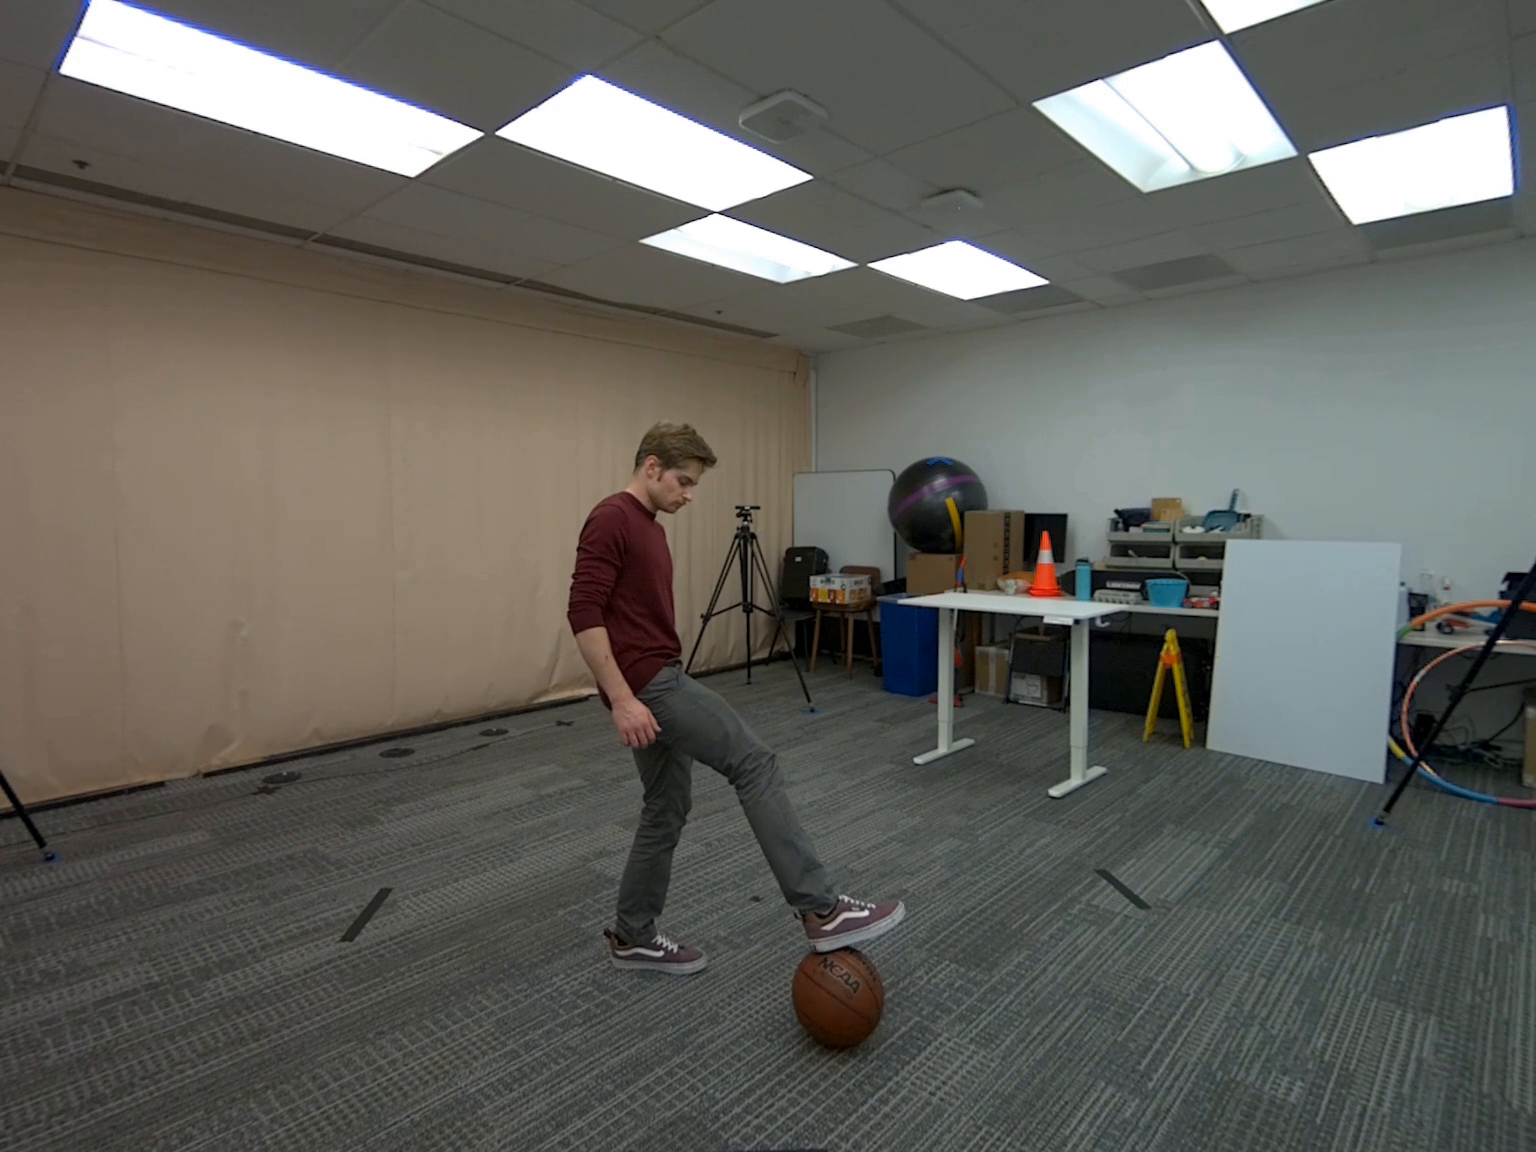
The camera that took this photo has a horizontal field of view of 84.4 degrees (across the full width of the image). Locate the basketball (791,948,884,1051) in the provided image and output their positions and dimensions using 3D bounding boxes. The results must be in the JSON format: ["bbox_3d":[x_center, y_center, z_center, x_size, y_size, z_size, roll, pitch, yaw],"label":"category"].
[{"bbox_3d":[0.192,1.093,2.194,0.236,0.235,0.237,0,4,-2],"label":"basketball"}]
